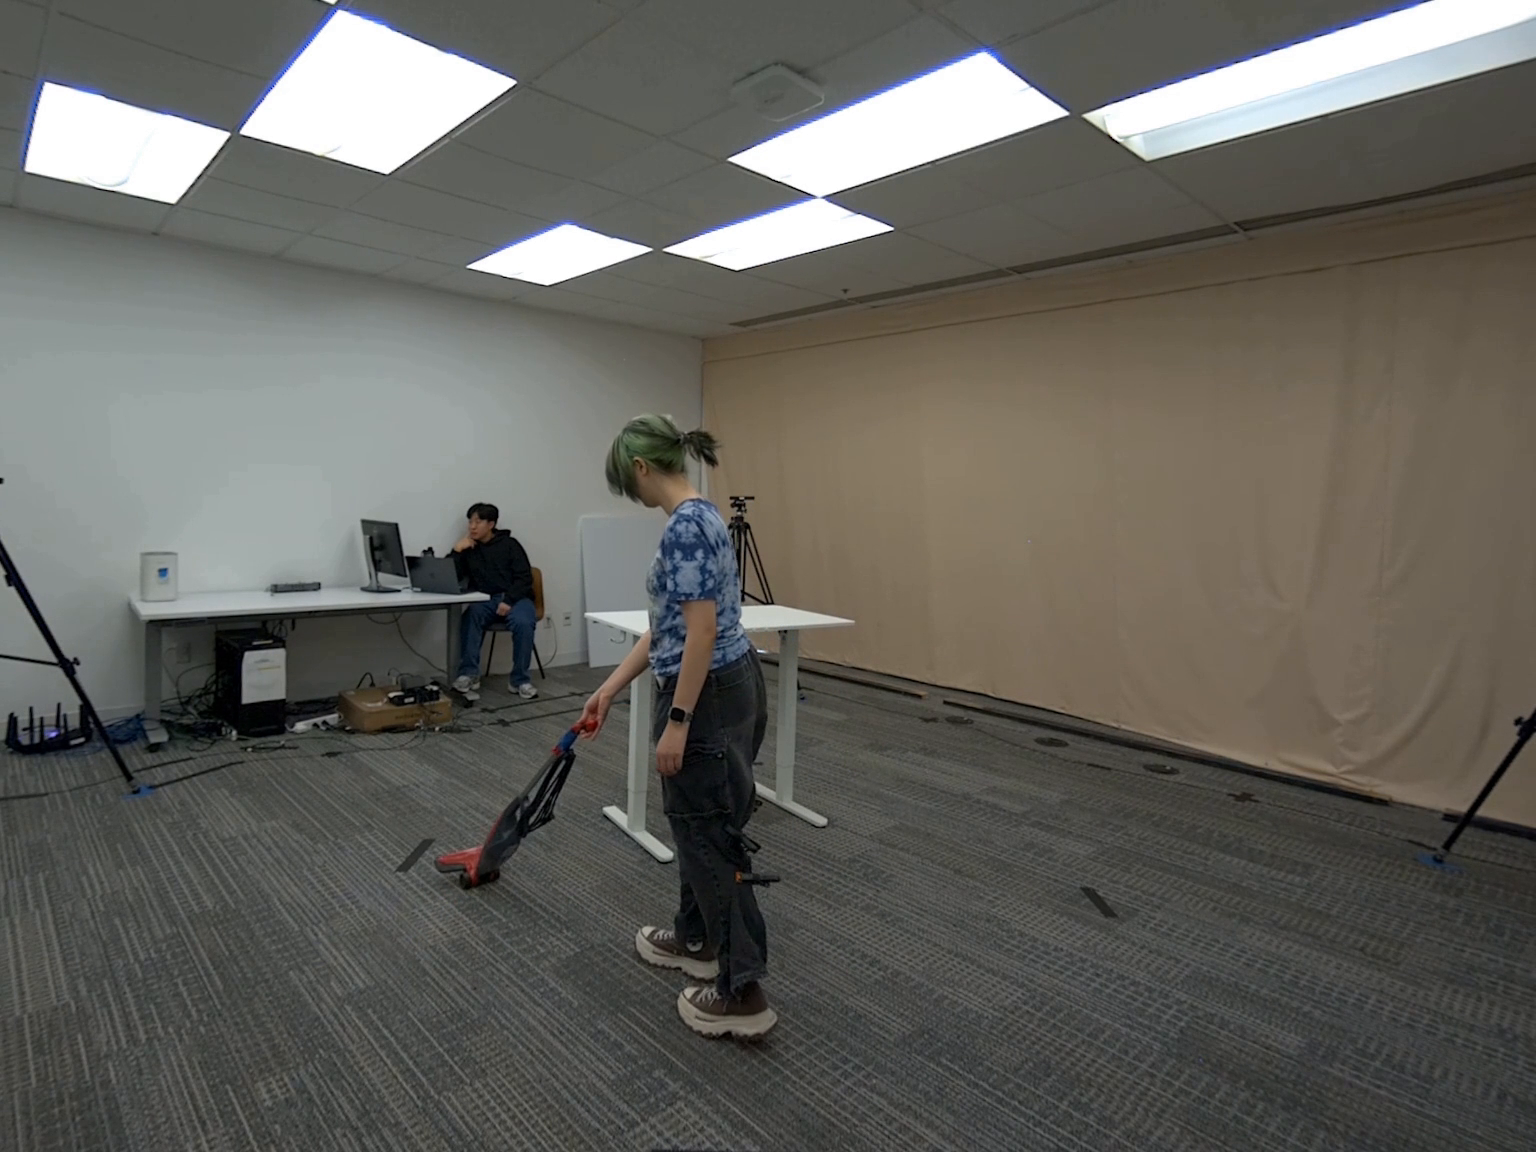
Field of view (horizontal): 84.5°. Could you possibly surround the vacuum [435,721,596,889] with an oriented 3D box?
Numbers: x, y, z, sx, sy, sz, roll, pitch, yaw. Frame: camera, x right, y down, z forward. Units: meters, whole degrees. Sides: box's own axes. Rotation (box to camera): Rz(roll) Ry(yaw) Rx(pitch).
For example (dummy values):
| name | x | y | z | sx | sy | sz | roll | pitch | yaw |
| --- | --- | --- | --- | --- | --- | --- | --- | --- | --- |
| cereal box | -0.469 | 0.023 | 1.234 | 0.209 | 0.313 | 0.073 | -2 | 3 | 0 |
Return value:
| name | x | y | z | sx | sy | sz | roll | pitch | yaw |
| --- | --- | --- | --- | --- | --- | --- | --- | --- | --- |
| vacuum | -0.784 | 0.756 | 2.704 | 0.247 | 0.147 | 1.048 | -6 | -31 | -43 |
